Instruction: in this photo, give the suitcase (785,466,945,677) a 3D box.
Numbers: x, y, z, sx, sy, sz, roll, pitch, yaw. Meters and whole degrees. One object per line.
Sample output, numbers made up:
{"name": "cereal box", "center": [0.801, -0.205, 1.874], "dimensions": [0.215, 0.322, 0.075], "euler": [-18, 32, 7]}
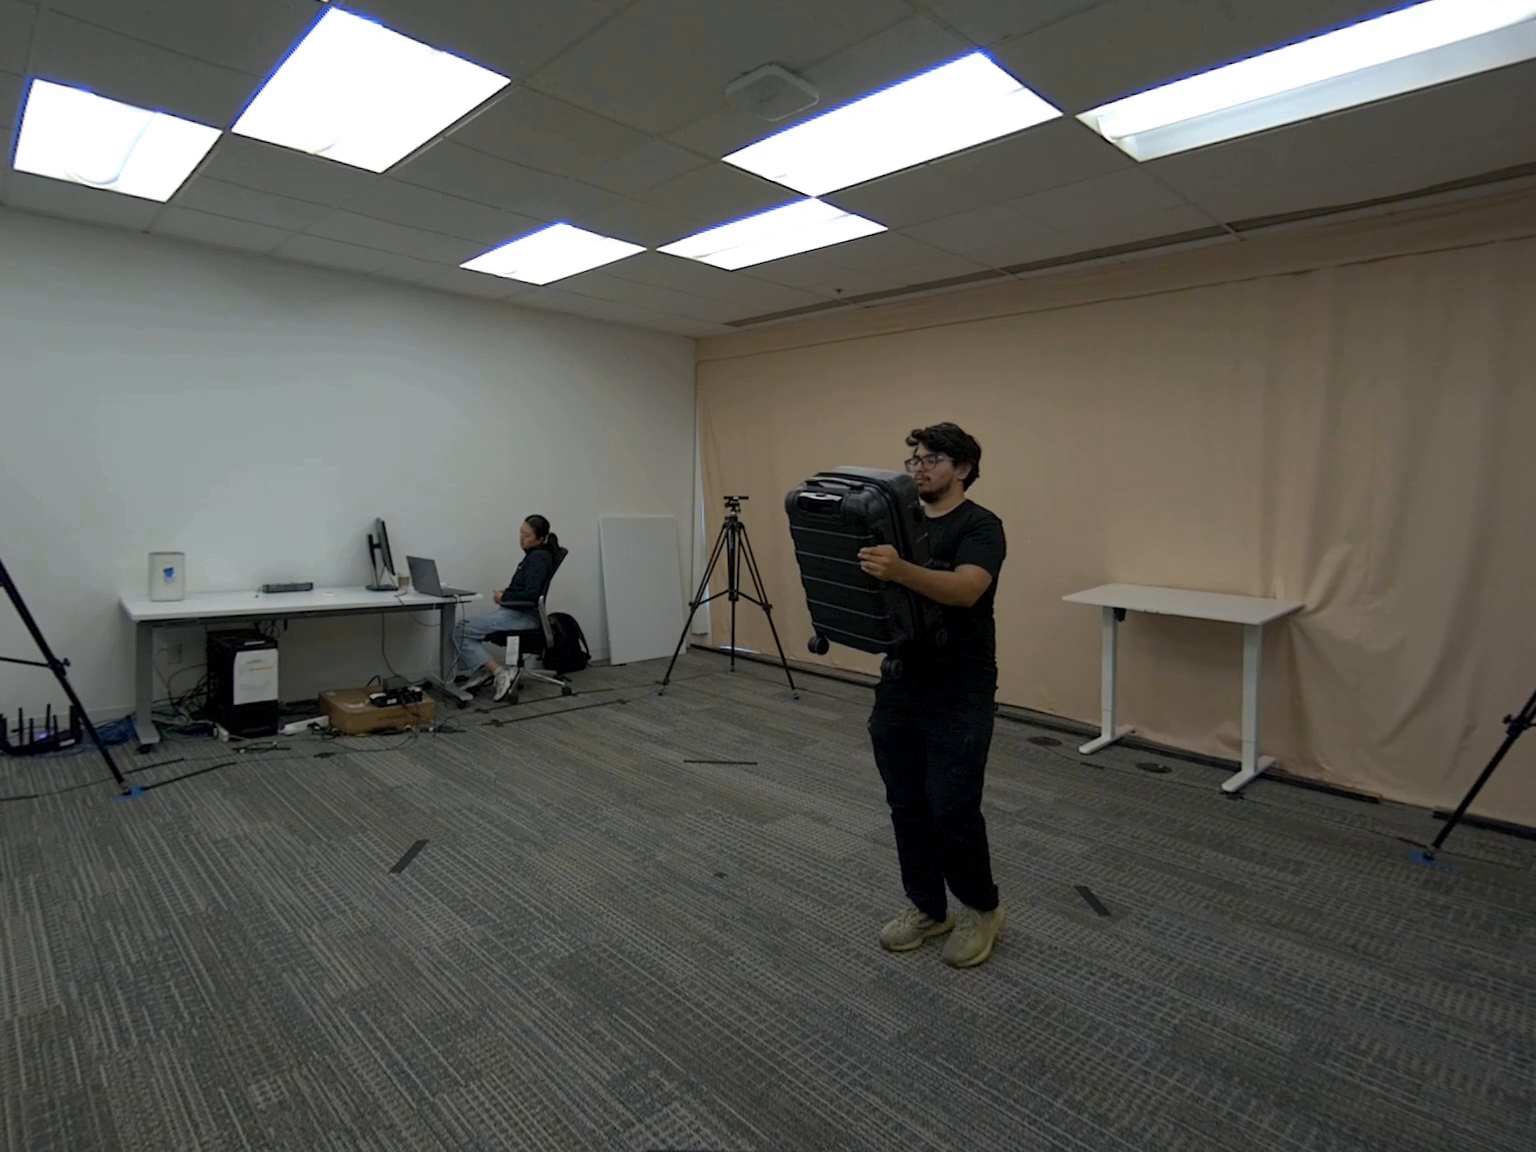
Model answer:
{"name": "suitcase", "center": [0.279, -0.041, 2.452], "dimensions": [0.246, 0.540, 0.385], "euler": [-26, 23, -31]}
